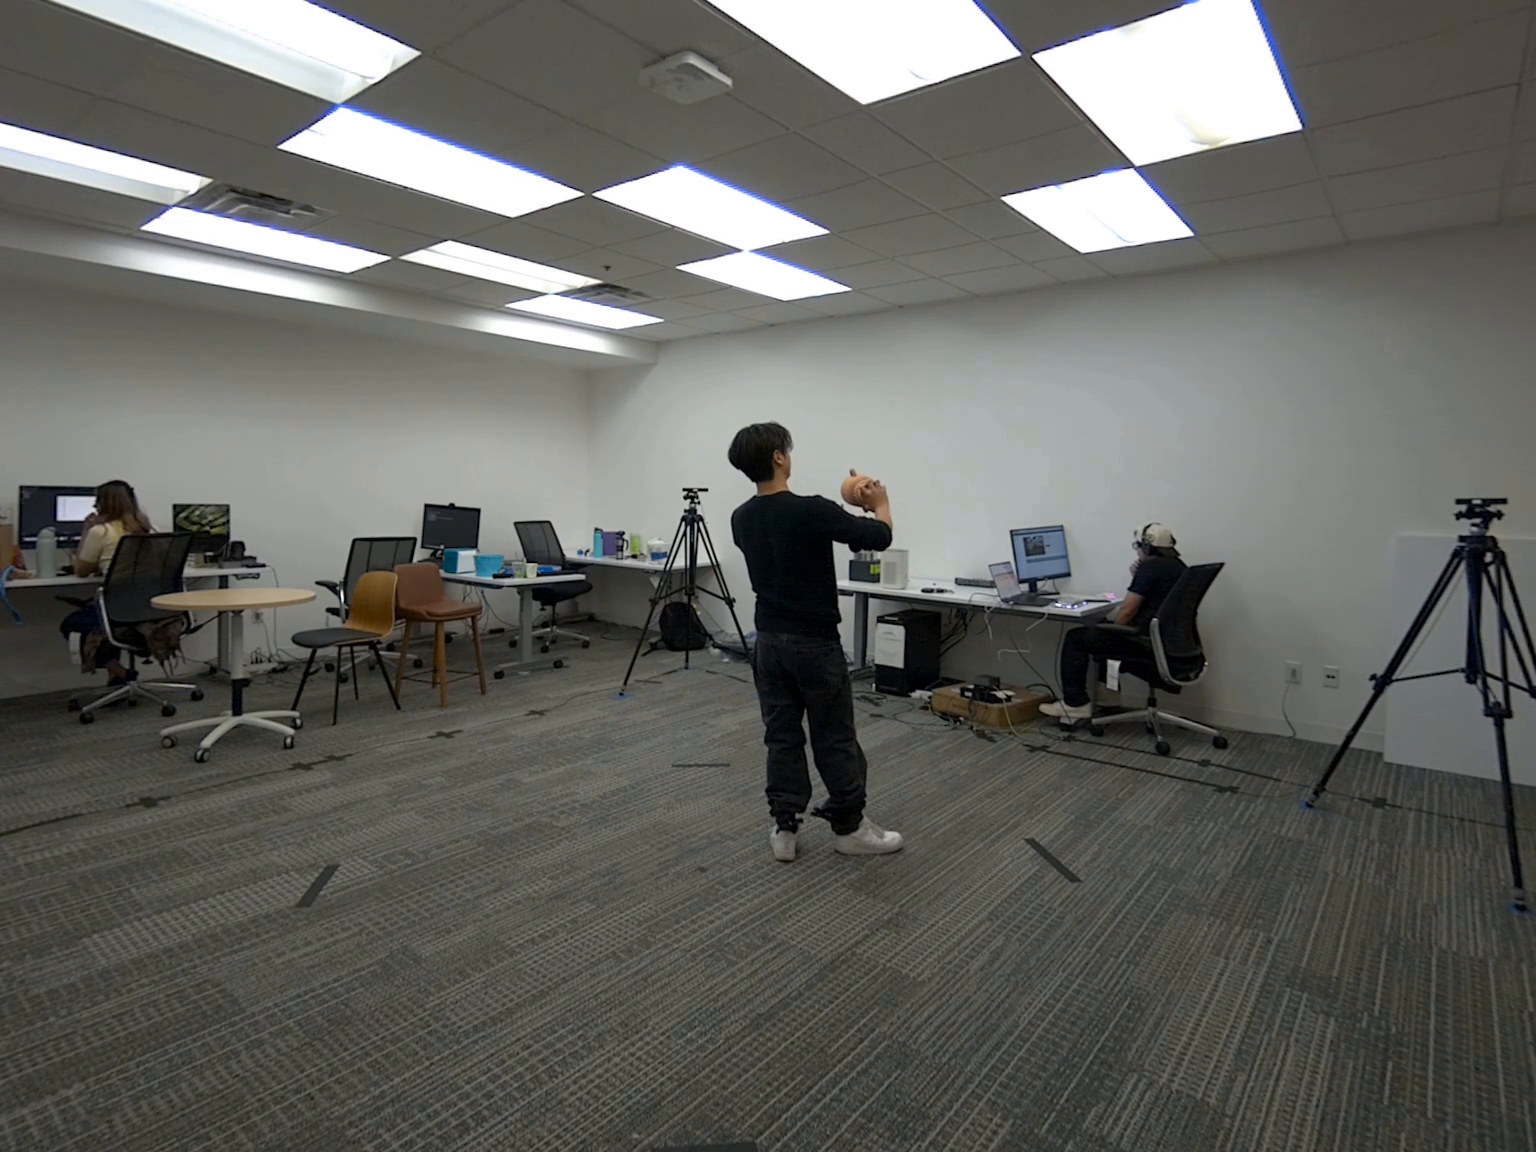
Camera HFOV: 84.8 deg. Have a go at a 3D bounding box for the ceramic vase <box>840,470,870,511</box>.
[{"bbox_3d":[0.388,-0.354,3.502,0.155,0.134,0.224,28,0,-16],"label":"ceramic vase"}]
